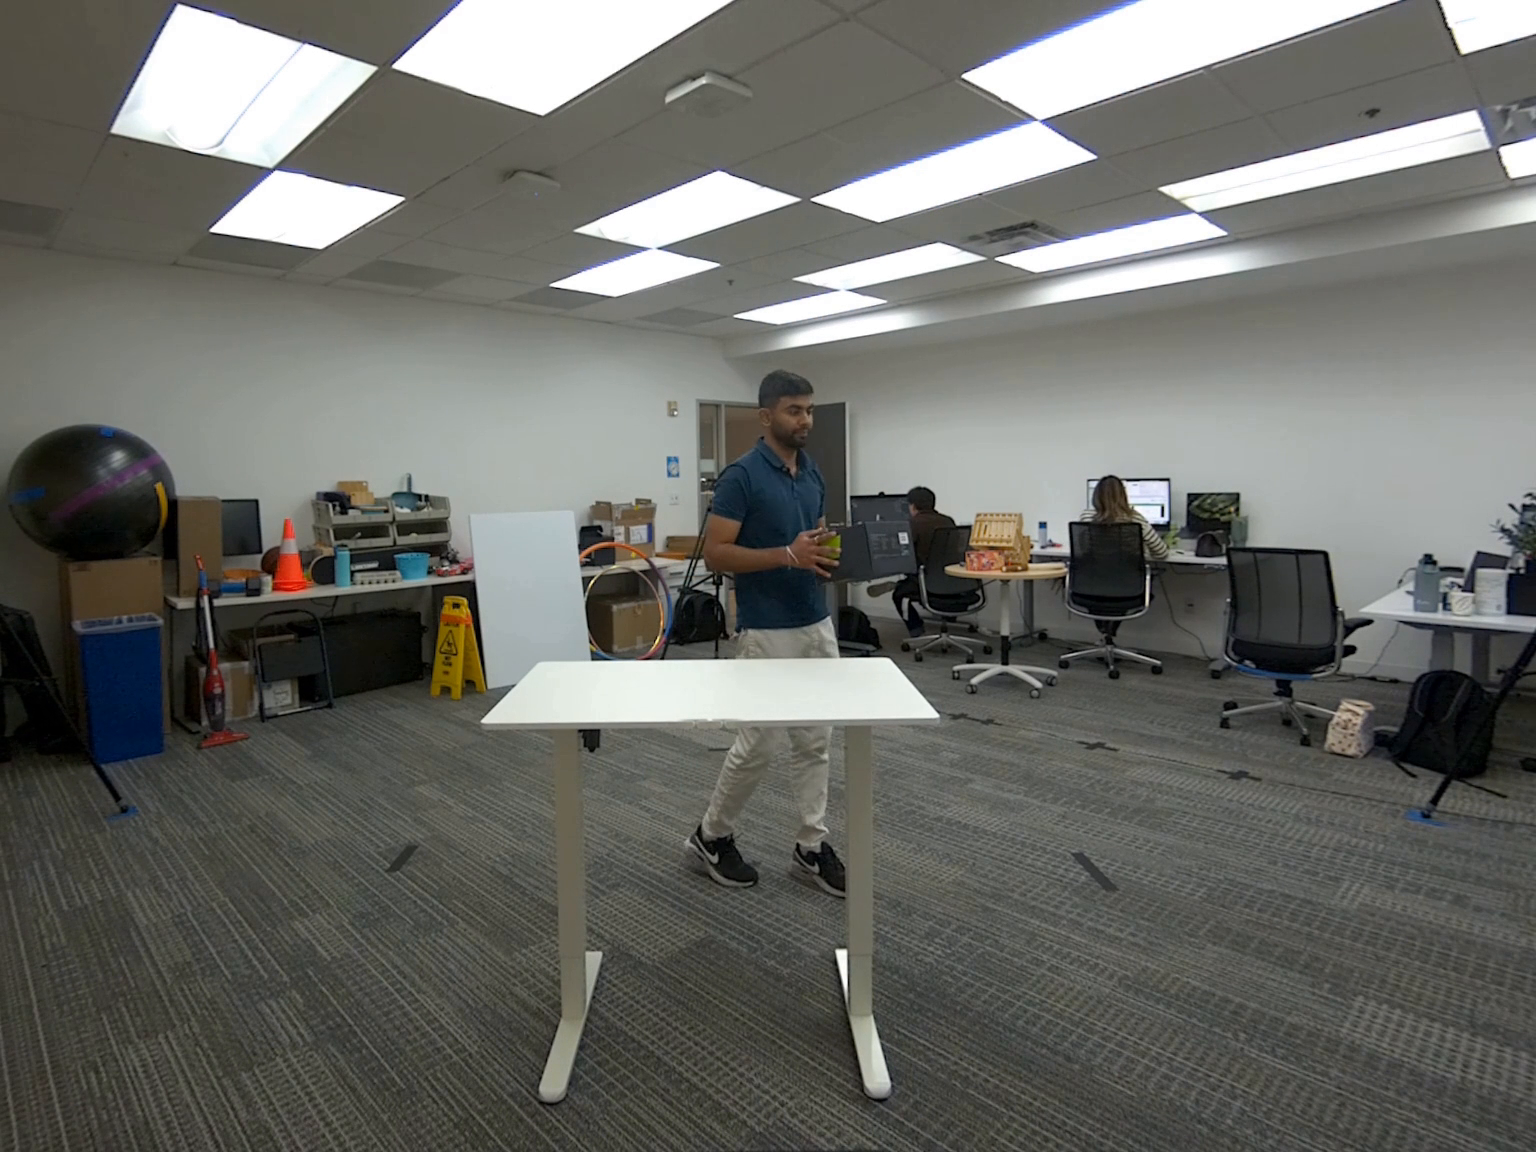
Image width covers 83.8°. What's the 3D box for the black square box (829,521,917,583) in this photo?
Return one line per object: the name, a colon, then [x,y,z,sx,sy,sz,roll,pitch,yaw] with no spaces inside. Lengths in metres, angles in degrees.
black square box: [0.282,-0.072,2.643,0.211,0.156,0.233,-5,-3,-41]
